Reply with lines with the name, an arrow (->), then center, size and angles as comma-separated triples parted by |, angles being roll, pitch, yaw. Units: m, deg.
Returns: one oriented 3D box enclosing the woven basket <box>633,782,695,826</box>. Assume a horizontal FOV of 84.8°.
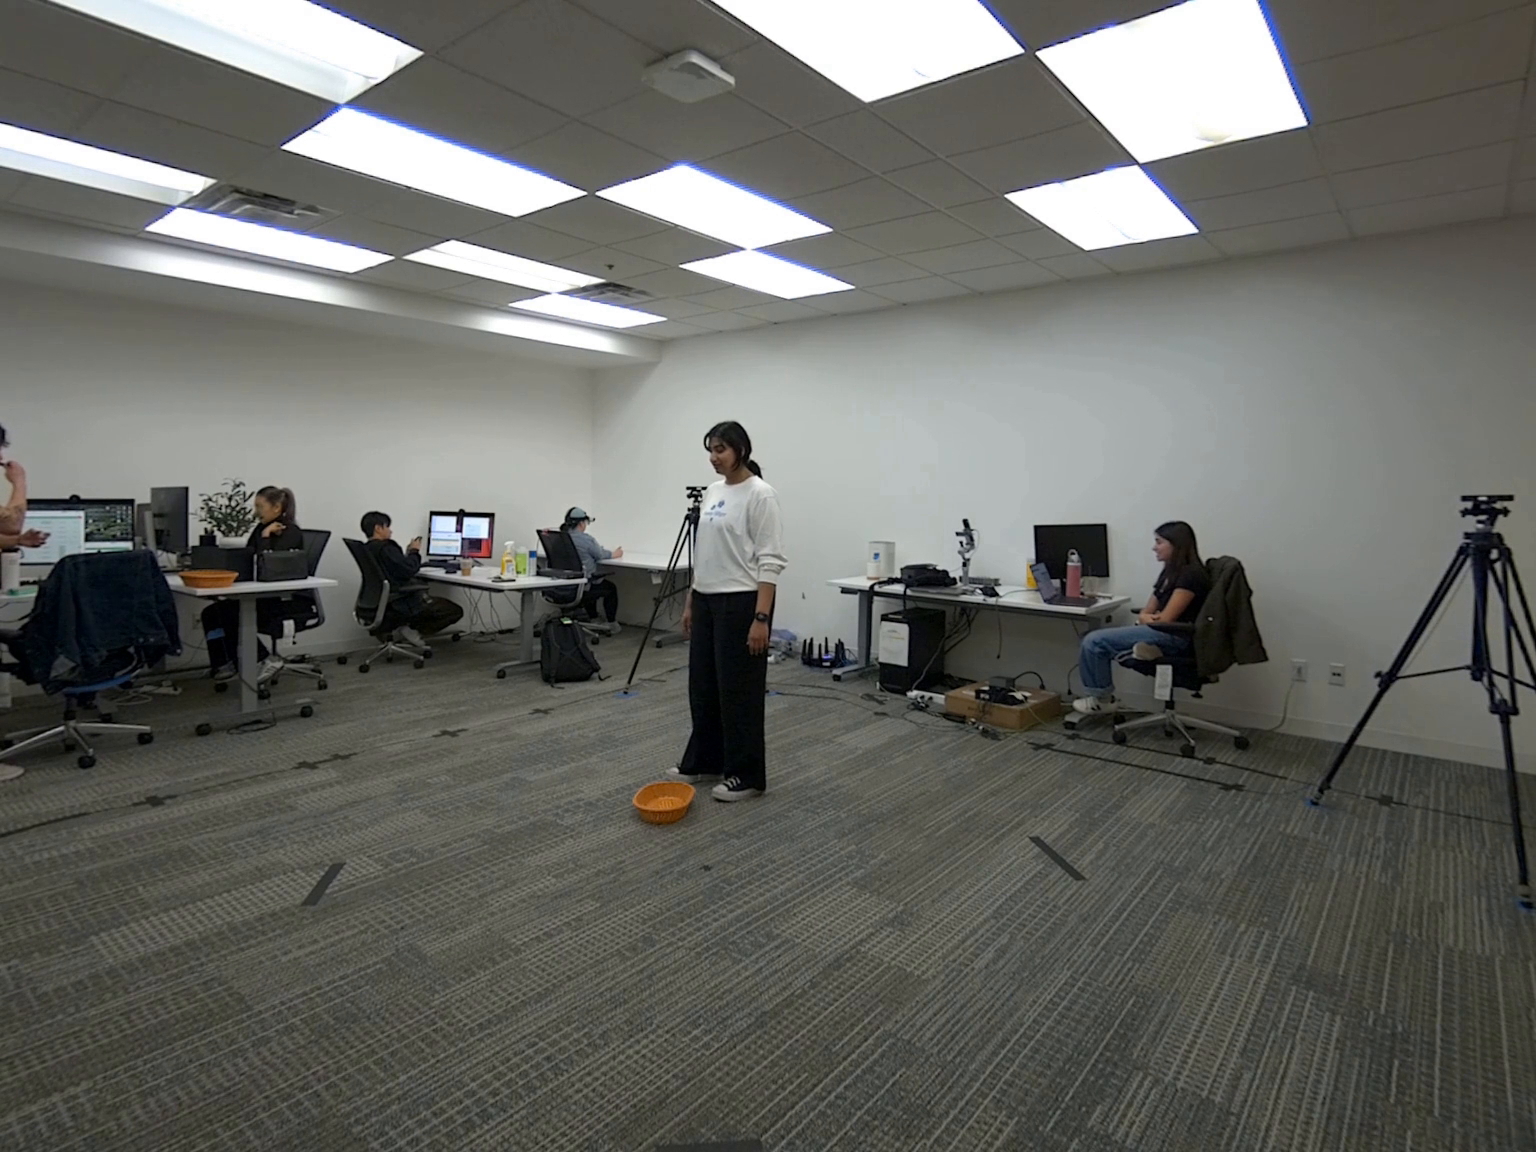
woven basket -> -0.446, 0.970, 3.645 | 0.255, 0.073, 0.348 | 1, 5, 10
